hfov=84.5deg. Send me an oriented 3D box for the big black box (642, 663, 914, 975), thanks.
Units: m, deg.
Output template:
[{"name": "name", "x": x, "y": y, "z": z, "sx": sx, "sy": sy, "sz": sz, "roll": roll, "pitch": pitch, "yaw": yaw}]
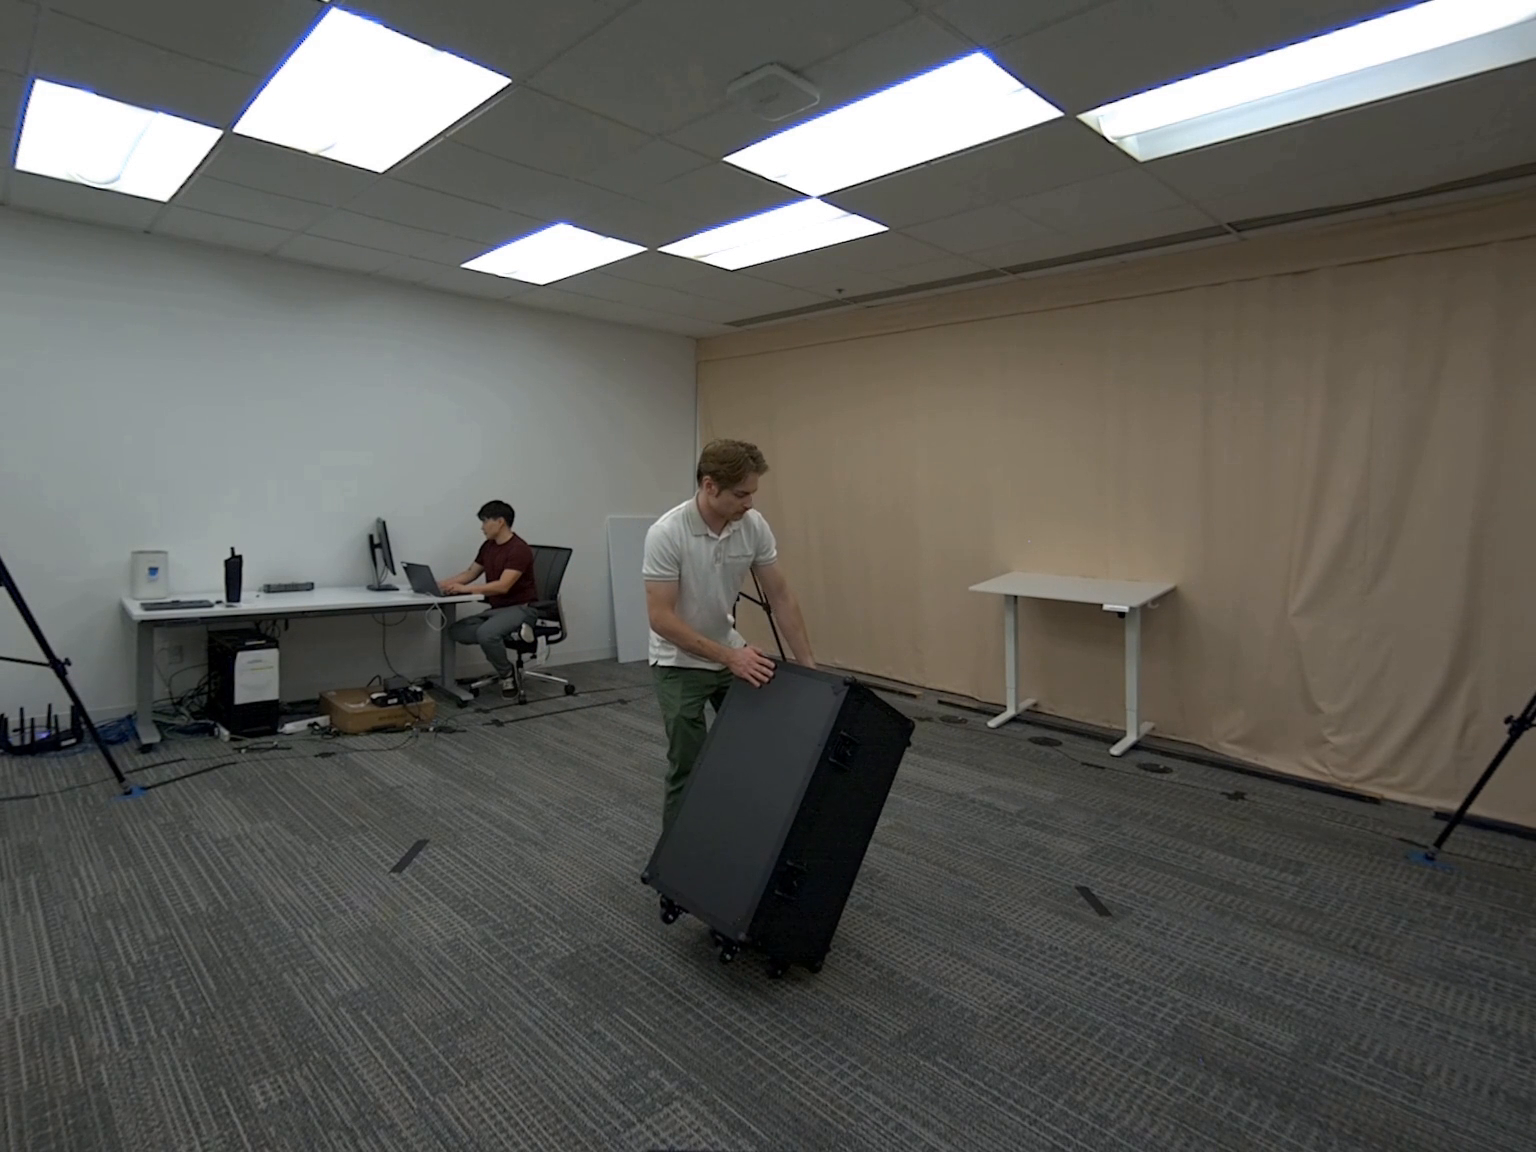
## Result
[{"name": "big black box", "x": 0.036, "y": 0.732, "z": 2.599, "sx": 0.535, "sy": 0.866, "sz": 0.384, "roll": 6, "pitch": -25, "yaw": 48}]
